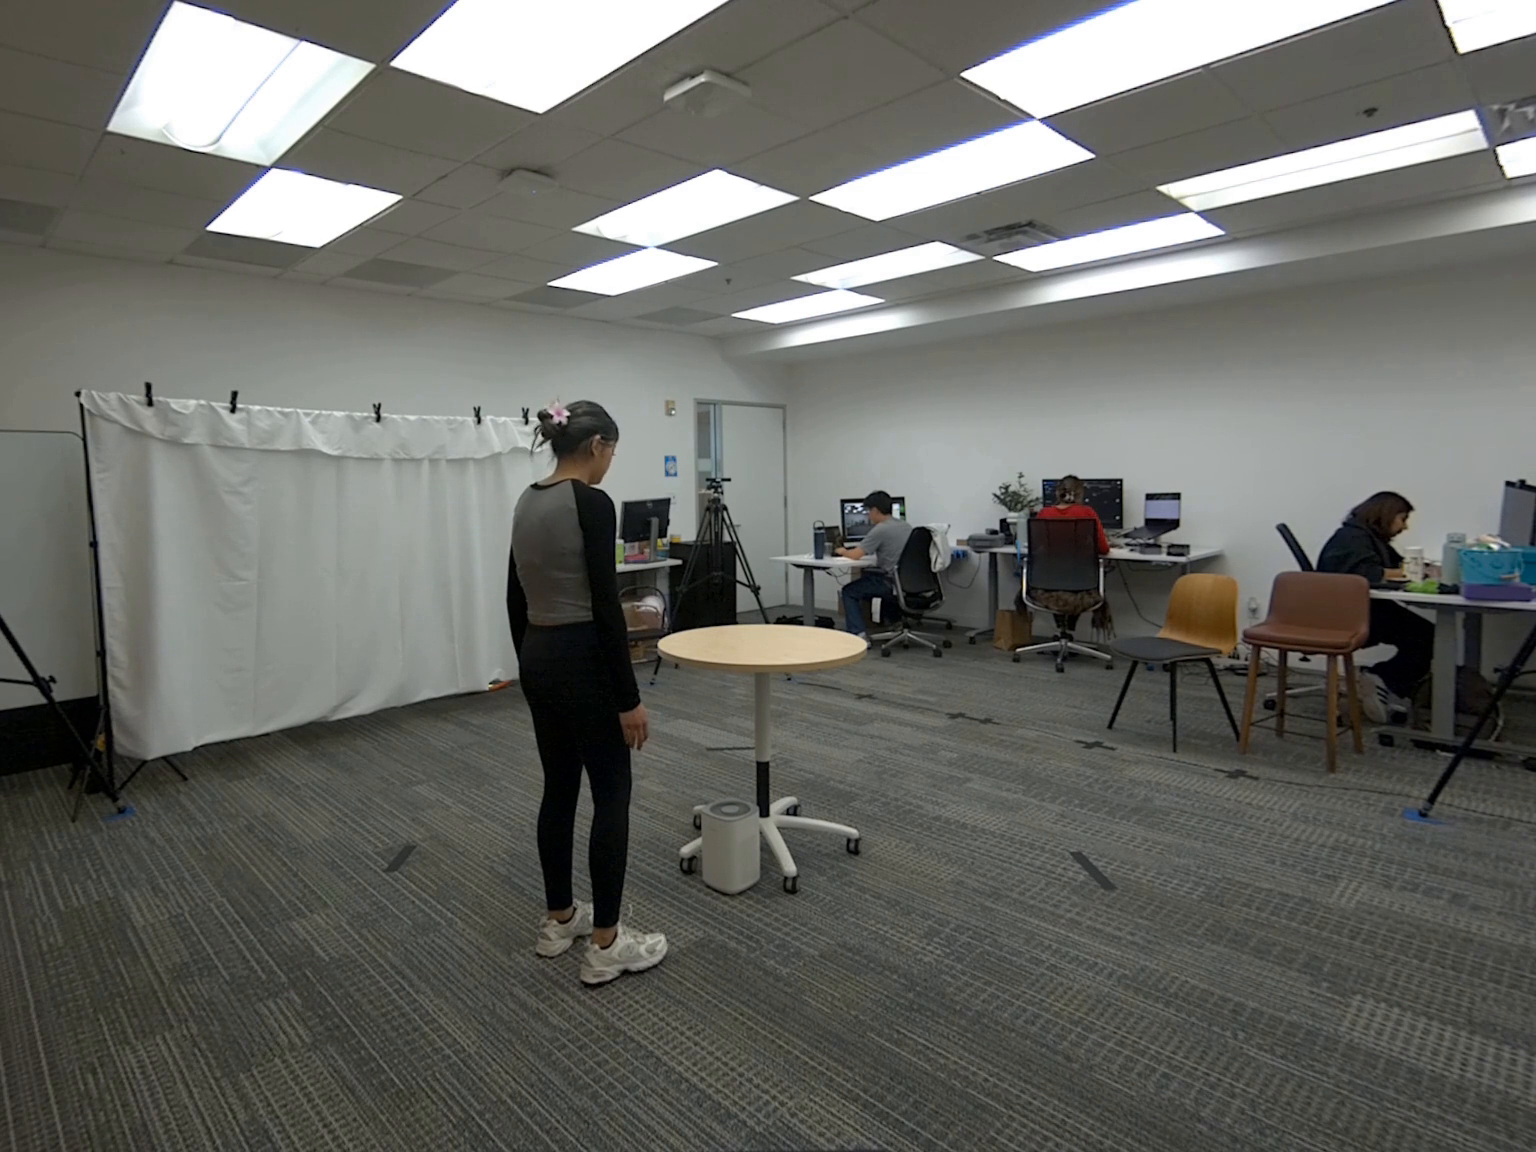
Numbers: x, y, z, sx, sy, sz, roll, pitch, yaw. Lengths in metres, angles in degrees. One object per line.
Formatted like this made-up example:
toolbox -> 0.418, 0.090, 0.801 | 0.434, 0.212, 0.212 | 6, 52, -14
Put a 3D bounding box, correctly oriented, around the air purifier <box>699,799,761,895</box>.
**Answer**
air purifier -> -0.125, 0.930, 2.935 | 0.176, 0.264, 0.167 | 3, 5, 40
